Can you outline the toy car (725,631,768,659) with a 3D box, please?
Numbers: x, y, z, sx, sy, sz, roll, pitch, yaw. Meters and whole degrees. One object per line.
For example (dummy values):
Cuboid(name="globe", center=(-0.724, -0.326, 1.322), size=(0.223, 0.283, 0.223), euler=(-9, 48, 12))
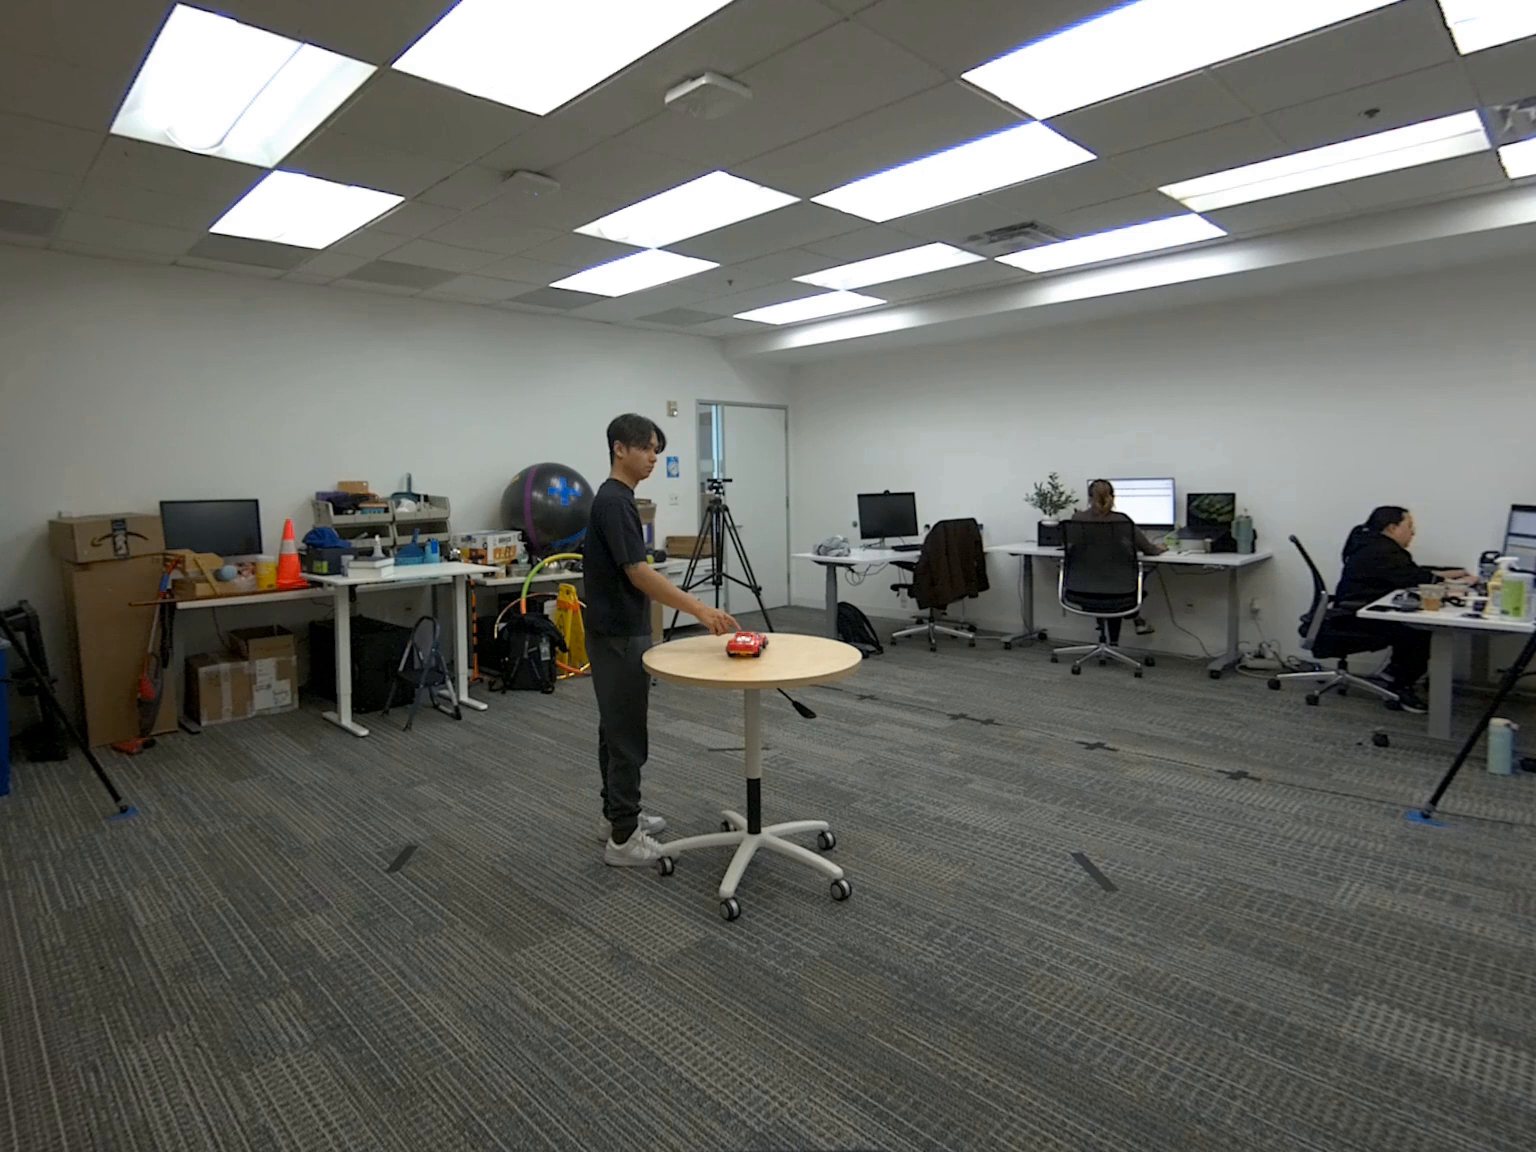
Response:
Cuboid(name="toy car", center=(-0.075, 0.241, 3.010), size=(0.131, 0.083, 0.251), euler=(1, -5, 9))
